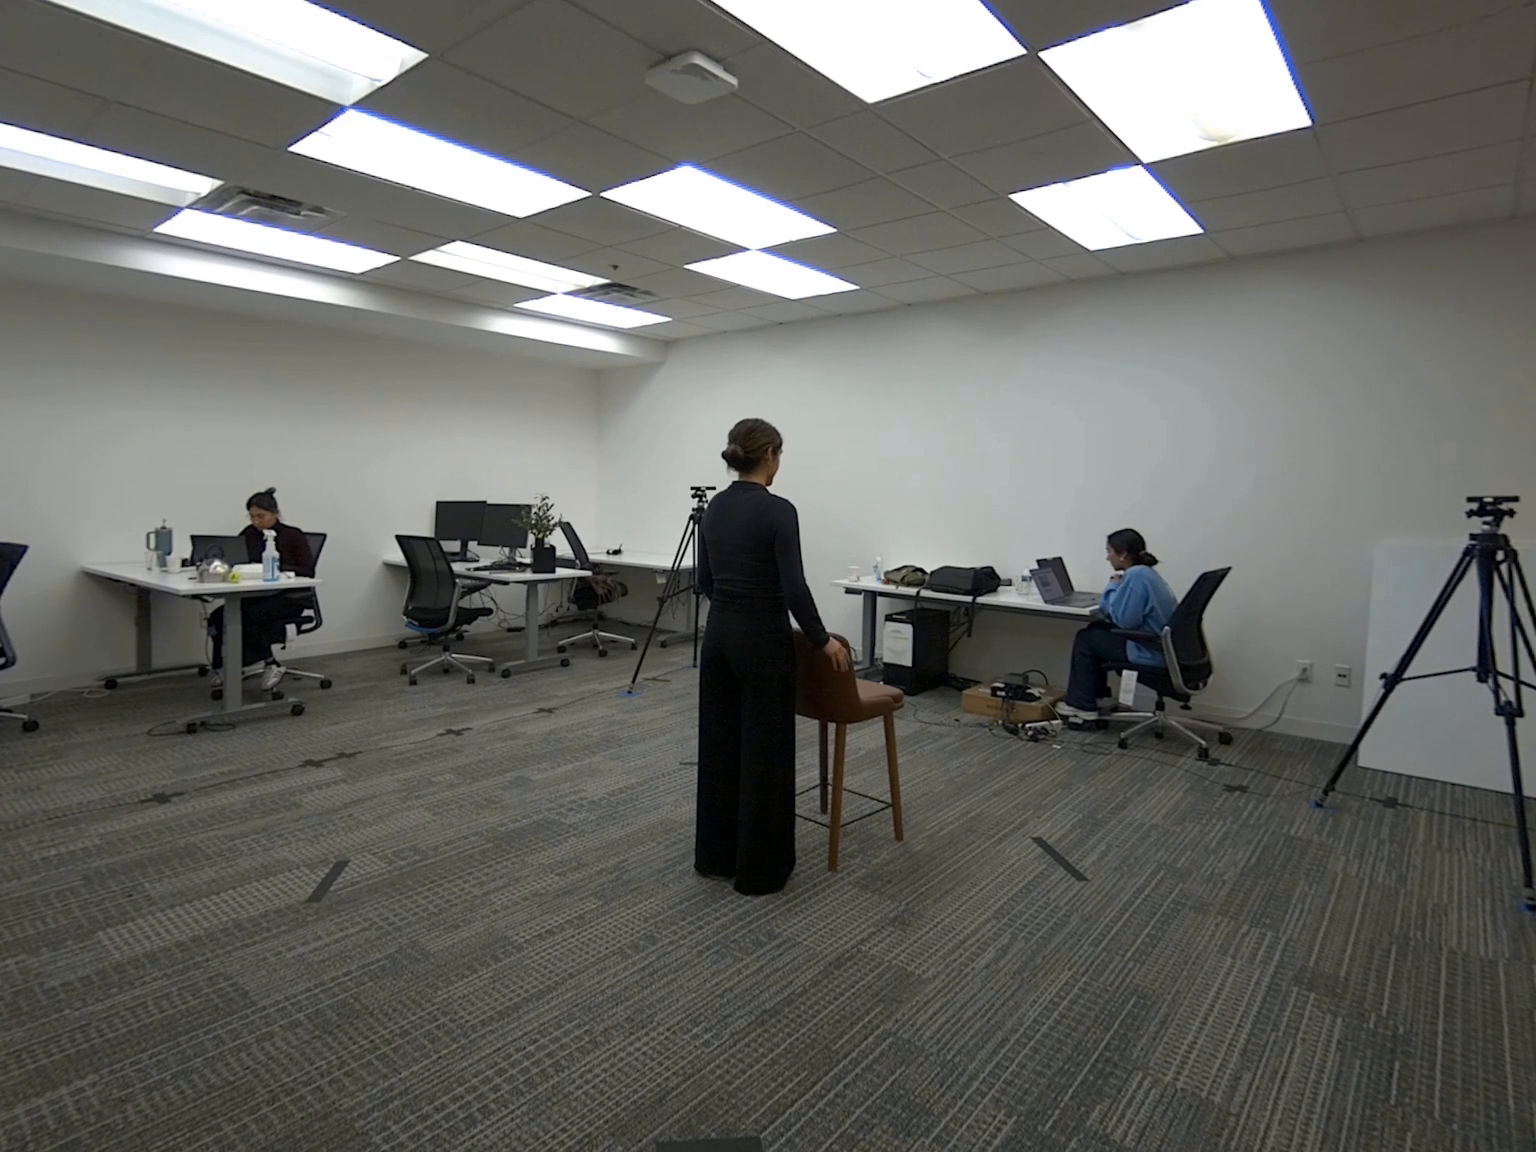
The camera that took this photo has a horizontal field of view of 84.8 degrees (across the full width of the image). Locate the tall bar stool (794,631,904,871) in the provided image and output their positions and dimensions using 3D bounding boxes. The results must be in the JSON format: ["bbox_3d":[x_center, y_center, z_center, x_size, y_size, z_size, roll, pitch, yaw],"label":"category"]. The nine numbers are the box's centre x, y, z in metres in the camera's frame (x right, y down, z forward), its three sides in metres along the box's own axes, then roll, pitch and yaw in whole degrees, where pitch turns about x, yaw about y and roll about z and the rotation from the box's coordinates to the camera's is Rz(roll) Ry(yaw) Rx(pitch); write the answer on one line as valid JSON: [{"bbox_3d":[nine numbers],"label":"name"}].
[{"bbox_3d":[0.242,0.609,3.358,0.472,0.886,0.454,4,7,43],"label":"tall bar stool"}]
